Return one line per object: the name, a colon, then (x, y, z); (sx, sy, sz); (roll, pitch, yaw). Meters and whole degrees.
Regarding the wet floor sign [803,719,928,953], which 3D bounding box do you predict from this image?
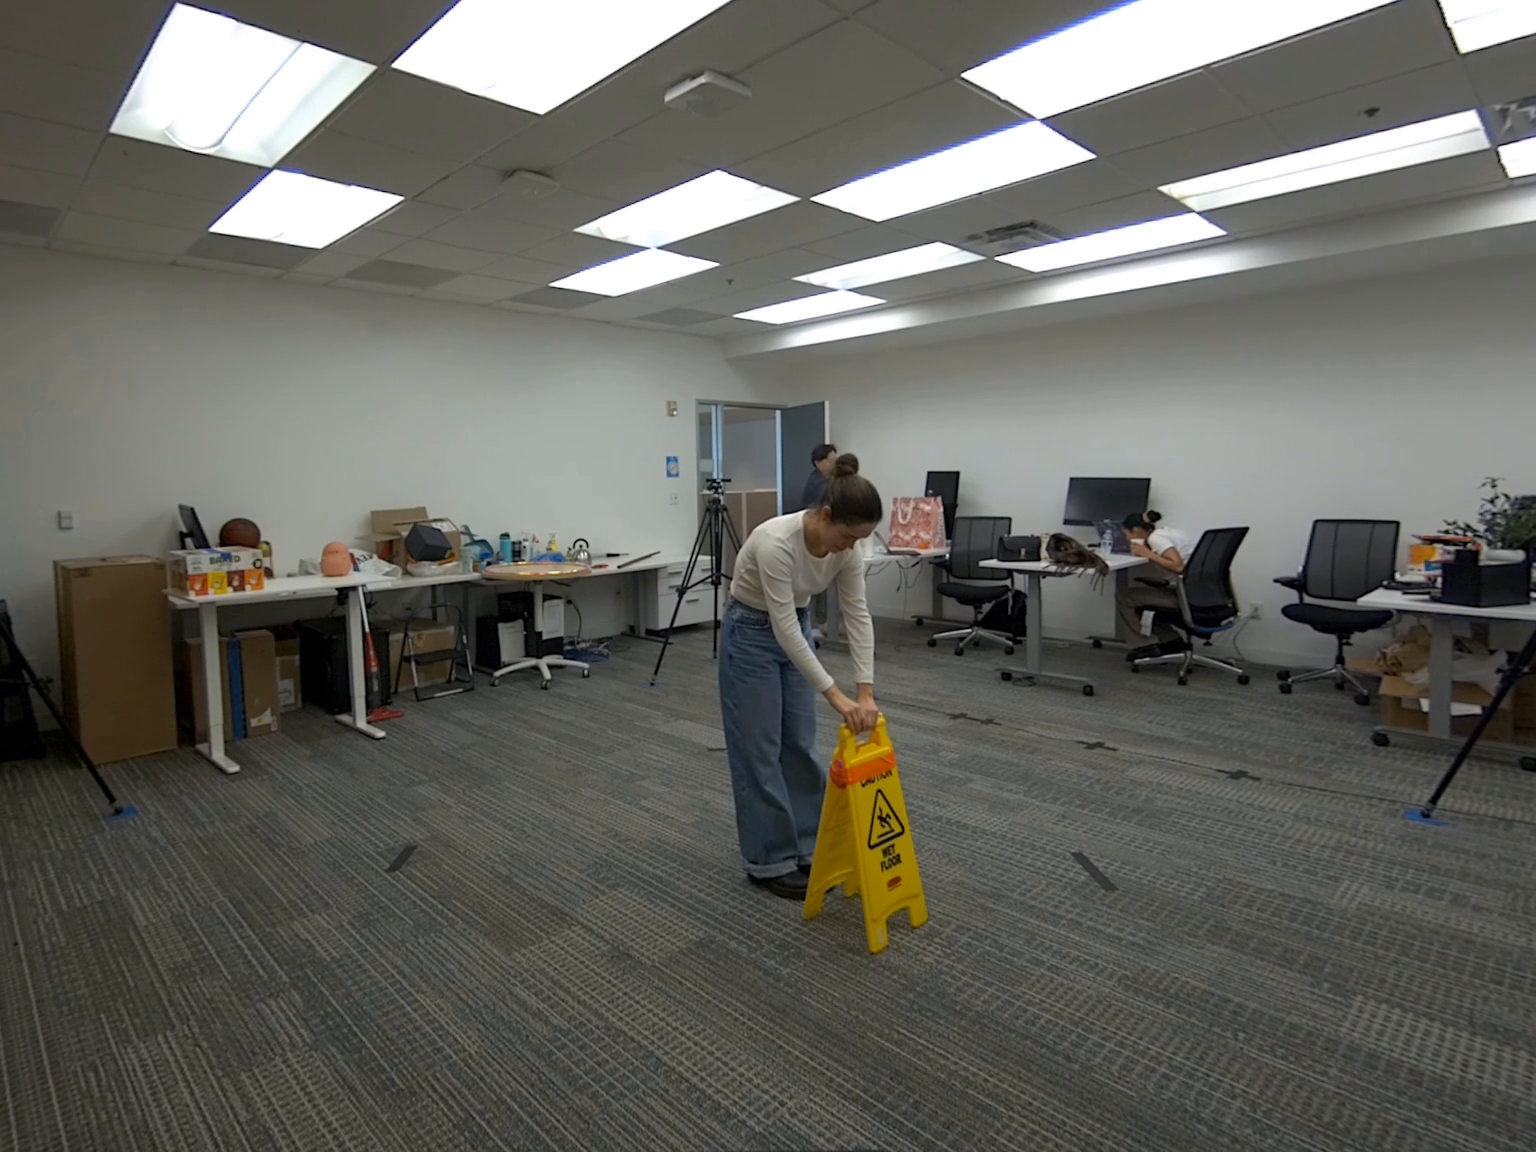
wet floor sign: (0.303, 0.753, 2.667); (0.275, 0.643, 0.299); (-6, 8, -43)
